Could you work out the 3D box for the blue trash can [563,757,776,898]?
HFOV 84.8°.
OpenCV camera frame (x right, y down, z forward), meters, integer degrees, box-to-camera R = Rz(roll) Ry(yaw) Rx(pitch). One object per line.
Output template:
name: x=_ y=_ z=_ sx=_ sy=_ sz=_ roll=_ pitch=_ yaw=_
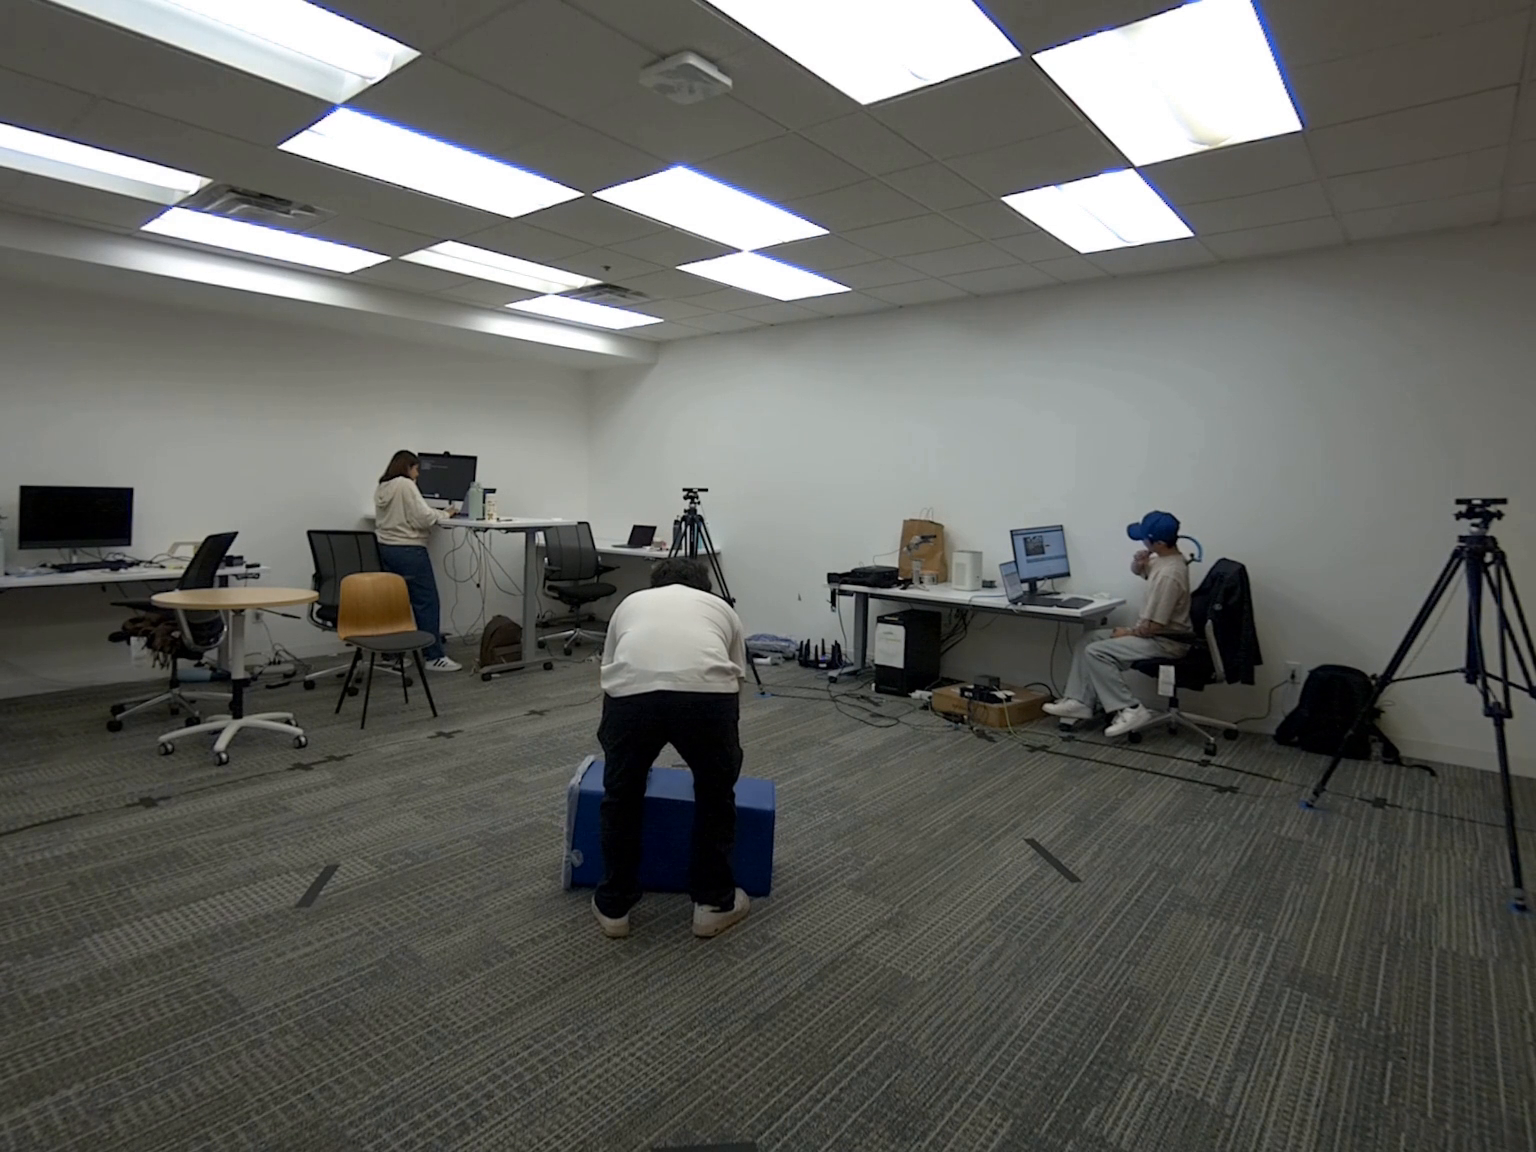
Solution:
blue trash can: x=-0.353 y=0.901 z=3.067 sx=0.715 sy=0.377 sz=0.374 roll=4 pitch=3 yaw=2
